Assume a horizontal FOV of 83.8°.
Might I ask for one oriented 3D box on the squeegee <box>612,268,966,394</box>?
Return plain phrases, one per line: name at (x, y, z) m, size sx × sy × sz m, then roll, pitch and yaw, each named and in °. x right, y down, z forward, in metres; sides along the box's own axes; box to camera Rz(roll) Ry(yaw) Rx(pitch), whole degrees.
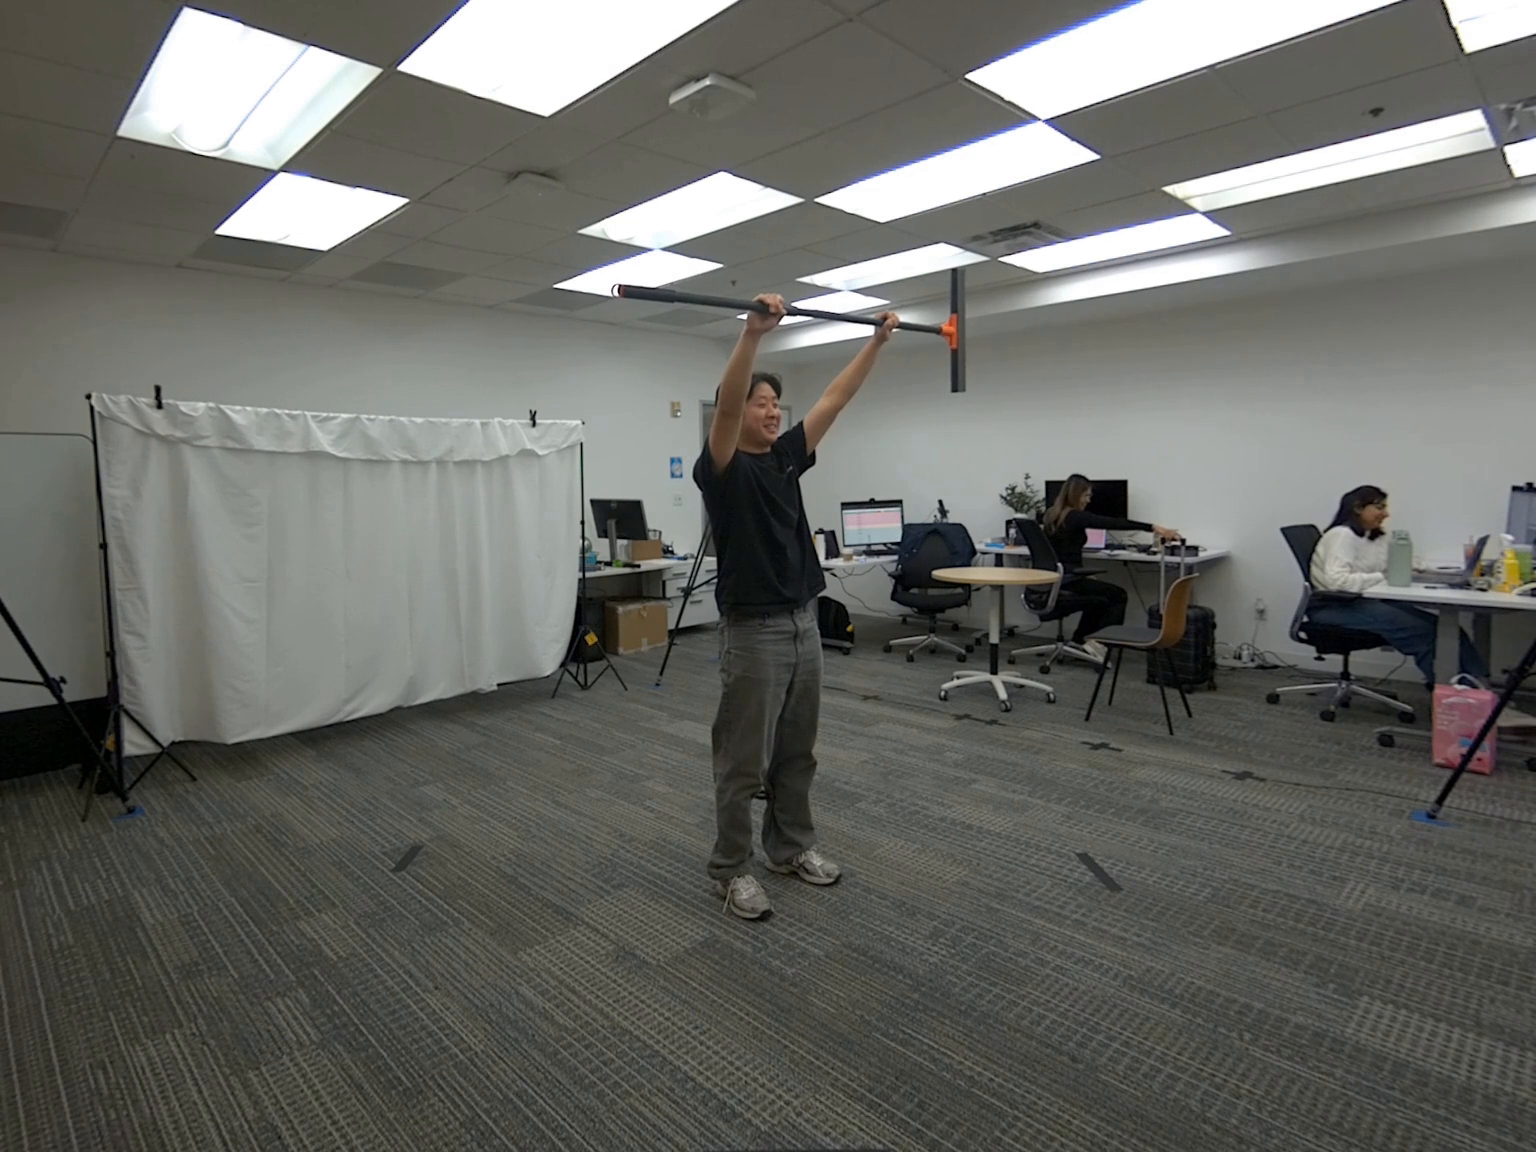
squeegee at (0.160, -0.775, 2.533) m, size 1.500 × 0.435 × 0.054 m, roll -10°, pitch 8°, yaw -43°
